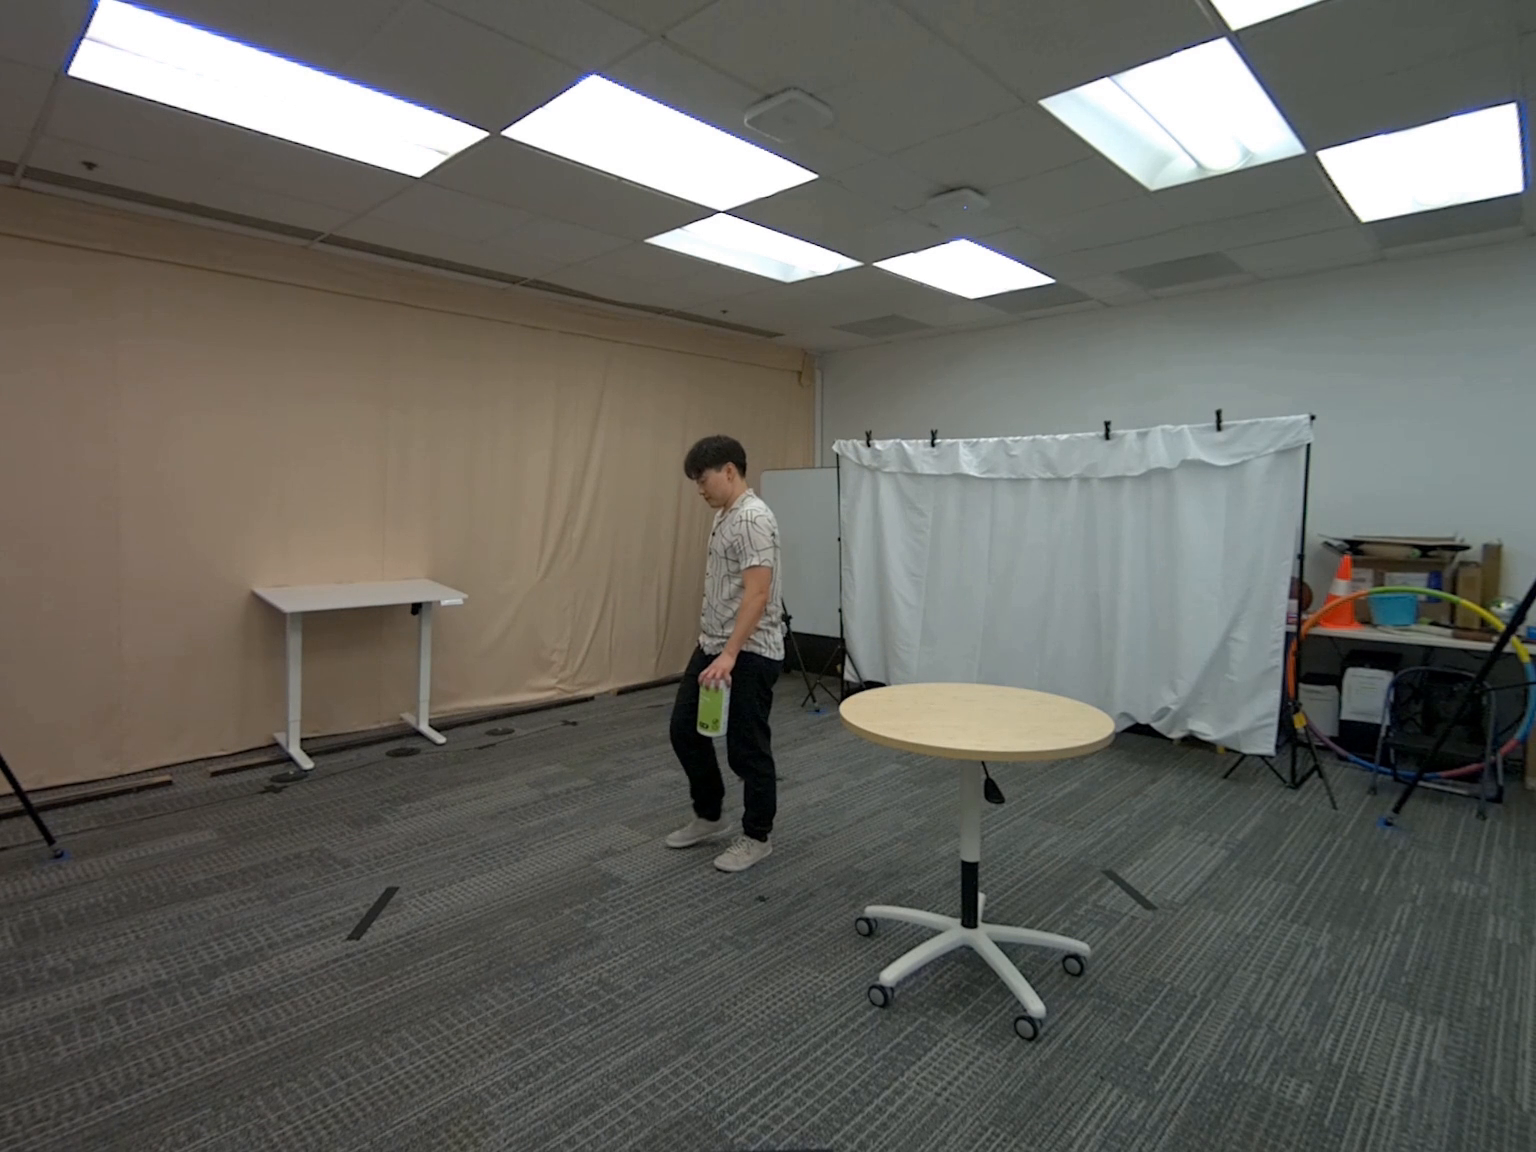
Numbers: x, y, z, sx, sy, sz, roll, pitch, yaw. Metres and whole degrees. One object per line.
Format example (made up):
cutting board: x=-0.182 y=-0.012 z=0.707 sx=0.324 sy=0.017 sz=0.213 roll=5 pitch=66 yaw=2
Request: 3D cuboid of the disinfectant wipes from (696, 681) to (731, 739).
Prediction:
disinfectant wipes: x=-0.188 y=0.459 z=3.023 sx=0.117 sy=0.216 sz=0.119 roll=3 pitch=11 yaw=-3
